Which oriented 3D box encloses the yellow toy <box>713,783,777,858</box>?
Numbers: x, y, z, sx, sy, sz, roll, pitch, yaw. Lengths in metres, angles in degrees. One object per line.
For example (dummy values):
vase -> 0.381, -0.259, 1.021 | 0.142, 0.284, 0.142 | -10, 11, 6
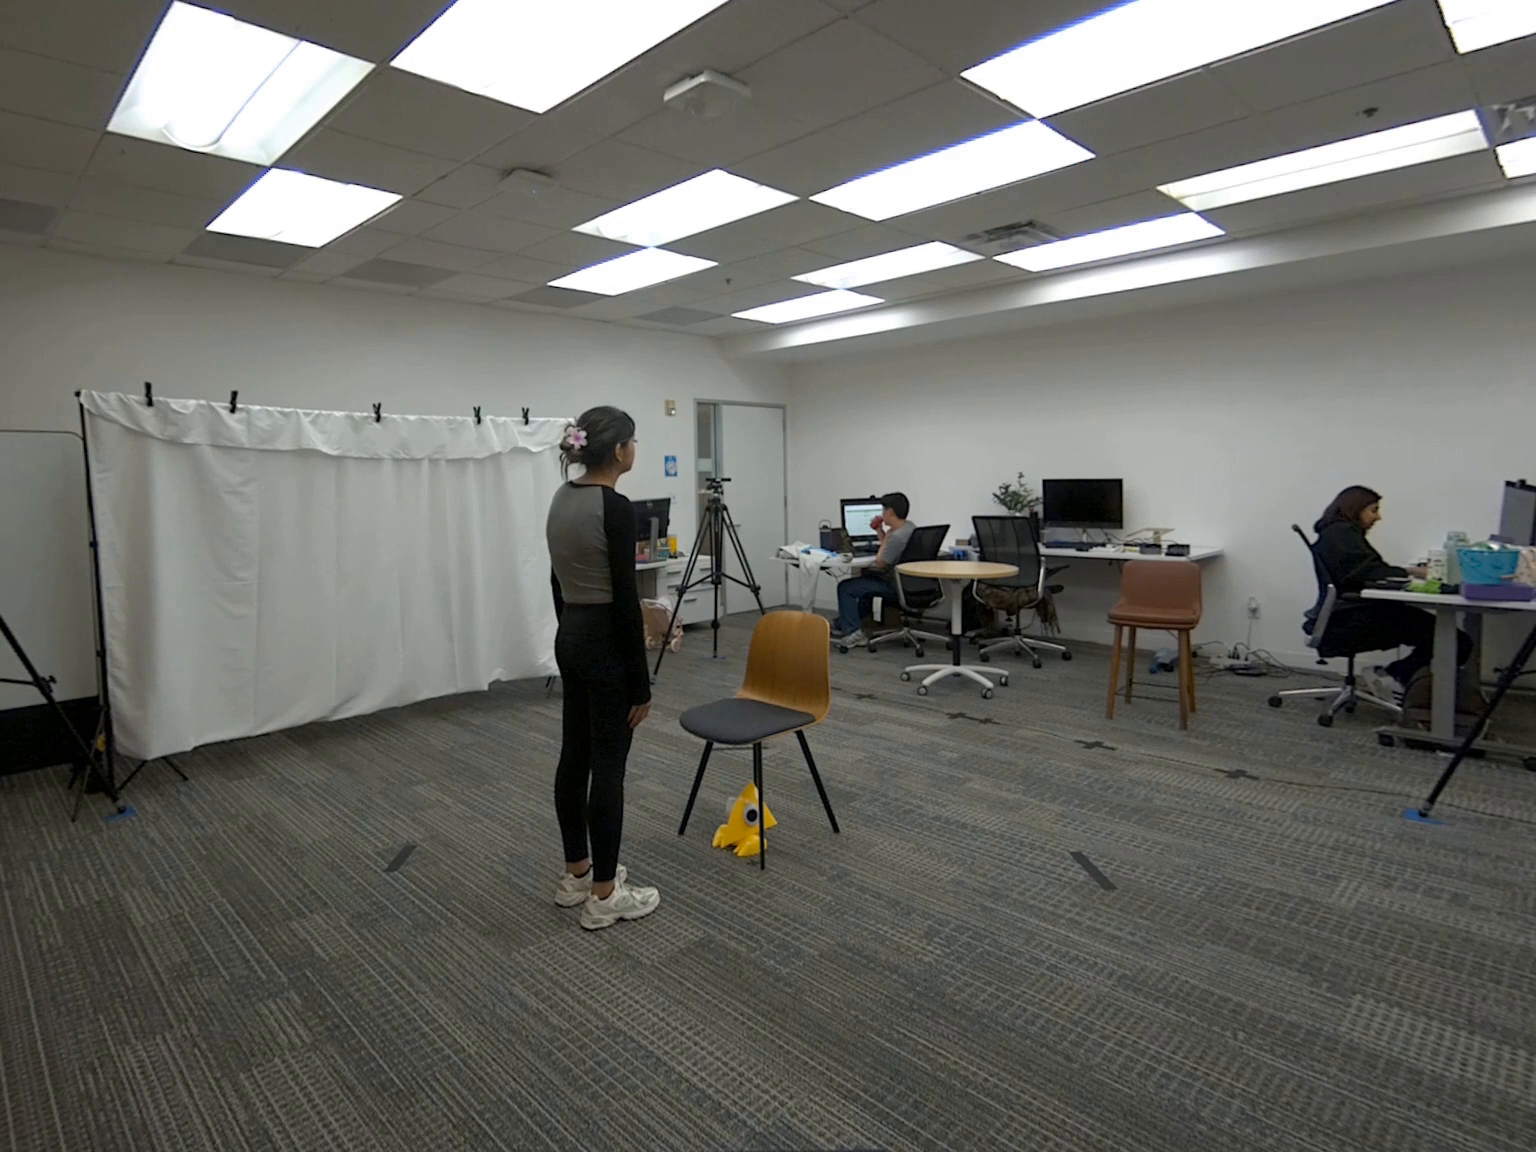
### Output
yellow toy -> -0.097, 0.915, 3.260 | 0.211, 0.230, 0.188 | 5, 7, 42
